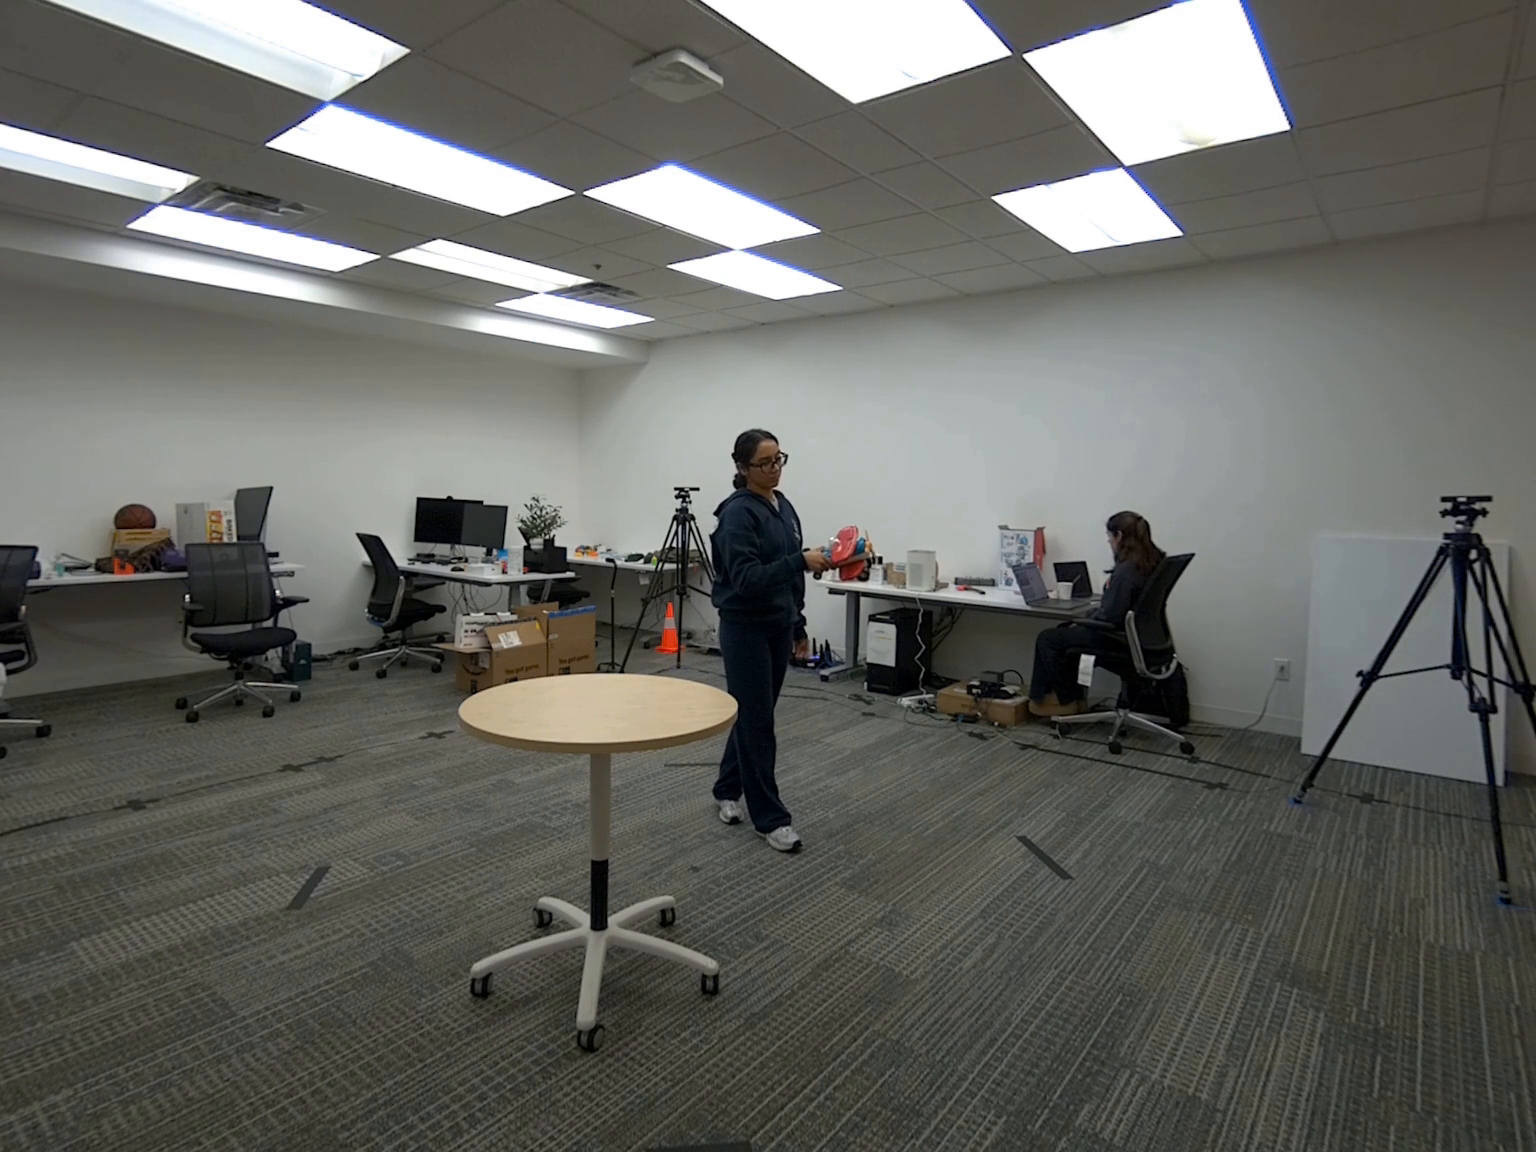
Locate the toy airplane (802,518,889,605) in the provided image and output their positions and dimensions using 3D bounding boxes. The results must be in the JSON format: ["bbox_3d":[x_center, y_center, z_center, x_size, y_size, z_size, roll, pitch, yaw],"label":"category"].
[{"bbox_3d":[0.268,-0.061,3.154,0.258,0.152,0.260,-18,30,-8],"label":"toy airplane"}]
